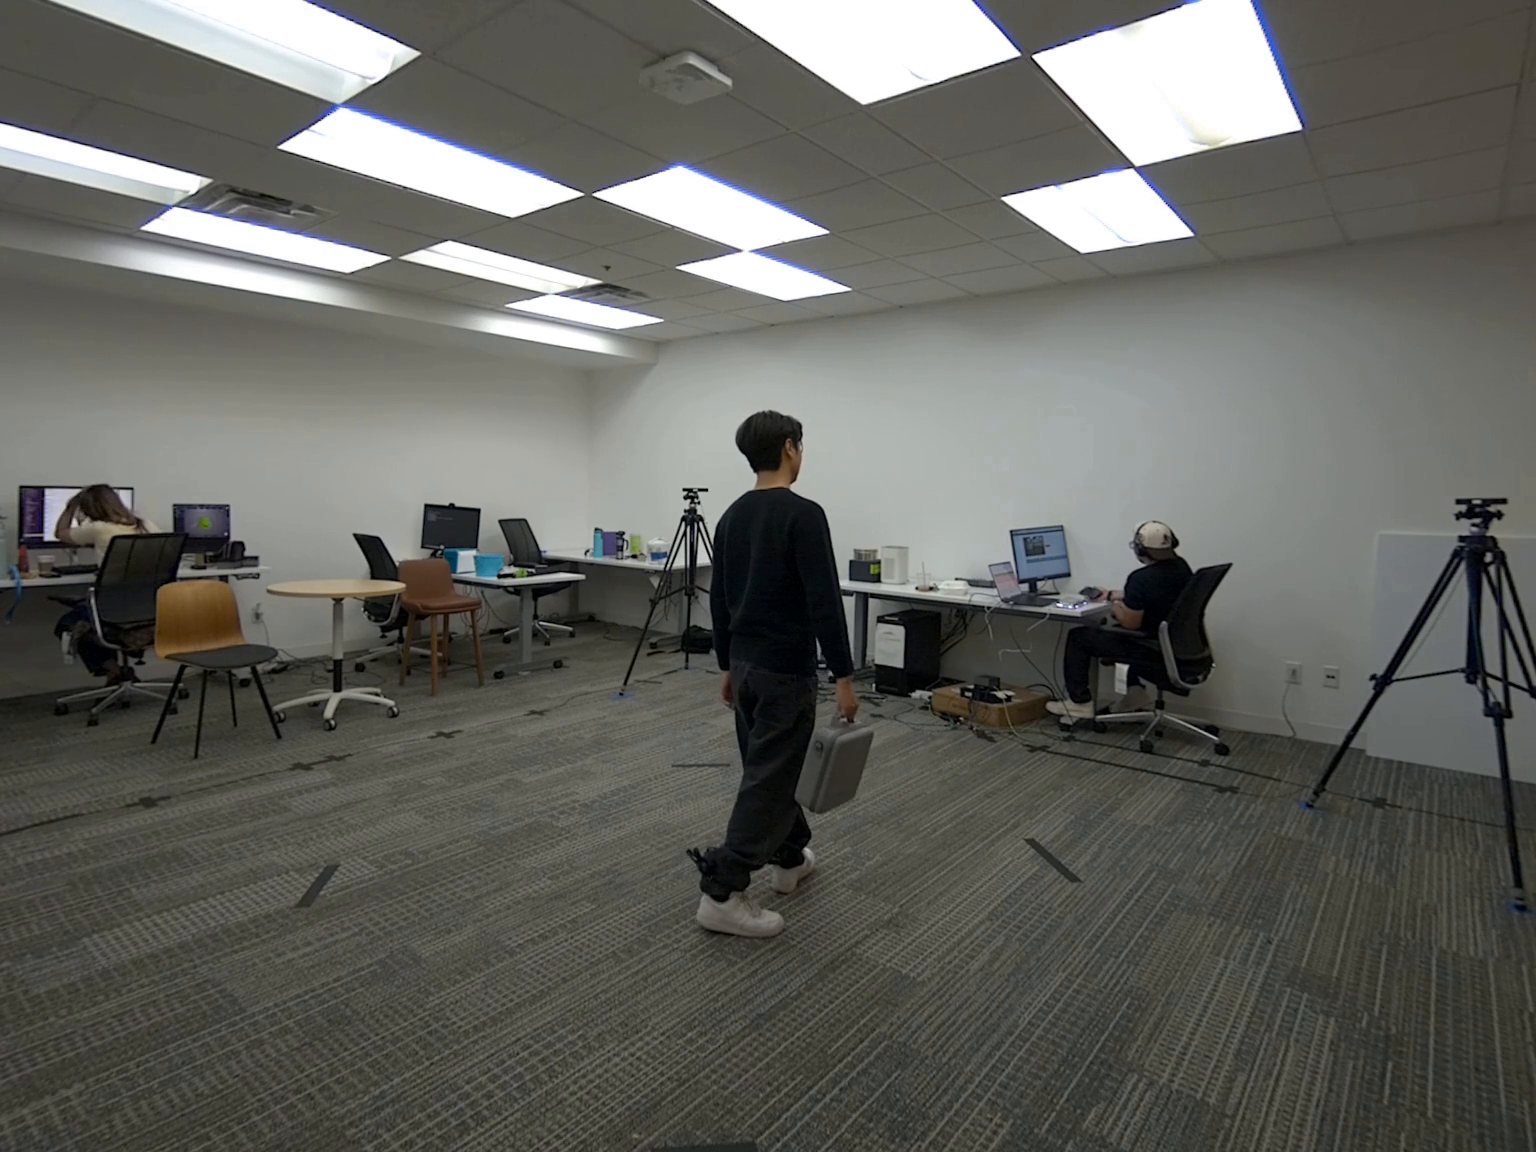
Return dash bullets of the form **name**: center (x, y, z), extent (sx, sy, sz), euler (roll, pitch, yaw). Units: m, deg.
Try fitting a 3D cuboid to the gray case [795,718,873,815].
- **gray case**: center (0.194, 0.565, 2.623), extent (0.108, 0.259, 0.249), euler (17, 7, 32)
